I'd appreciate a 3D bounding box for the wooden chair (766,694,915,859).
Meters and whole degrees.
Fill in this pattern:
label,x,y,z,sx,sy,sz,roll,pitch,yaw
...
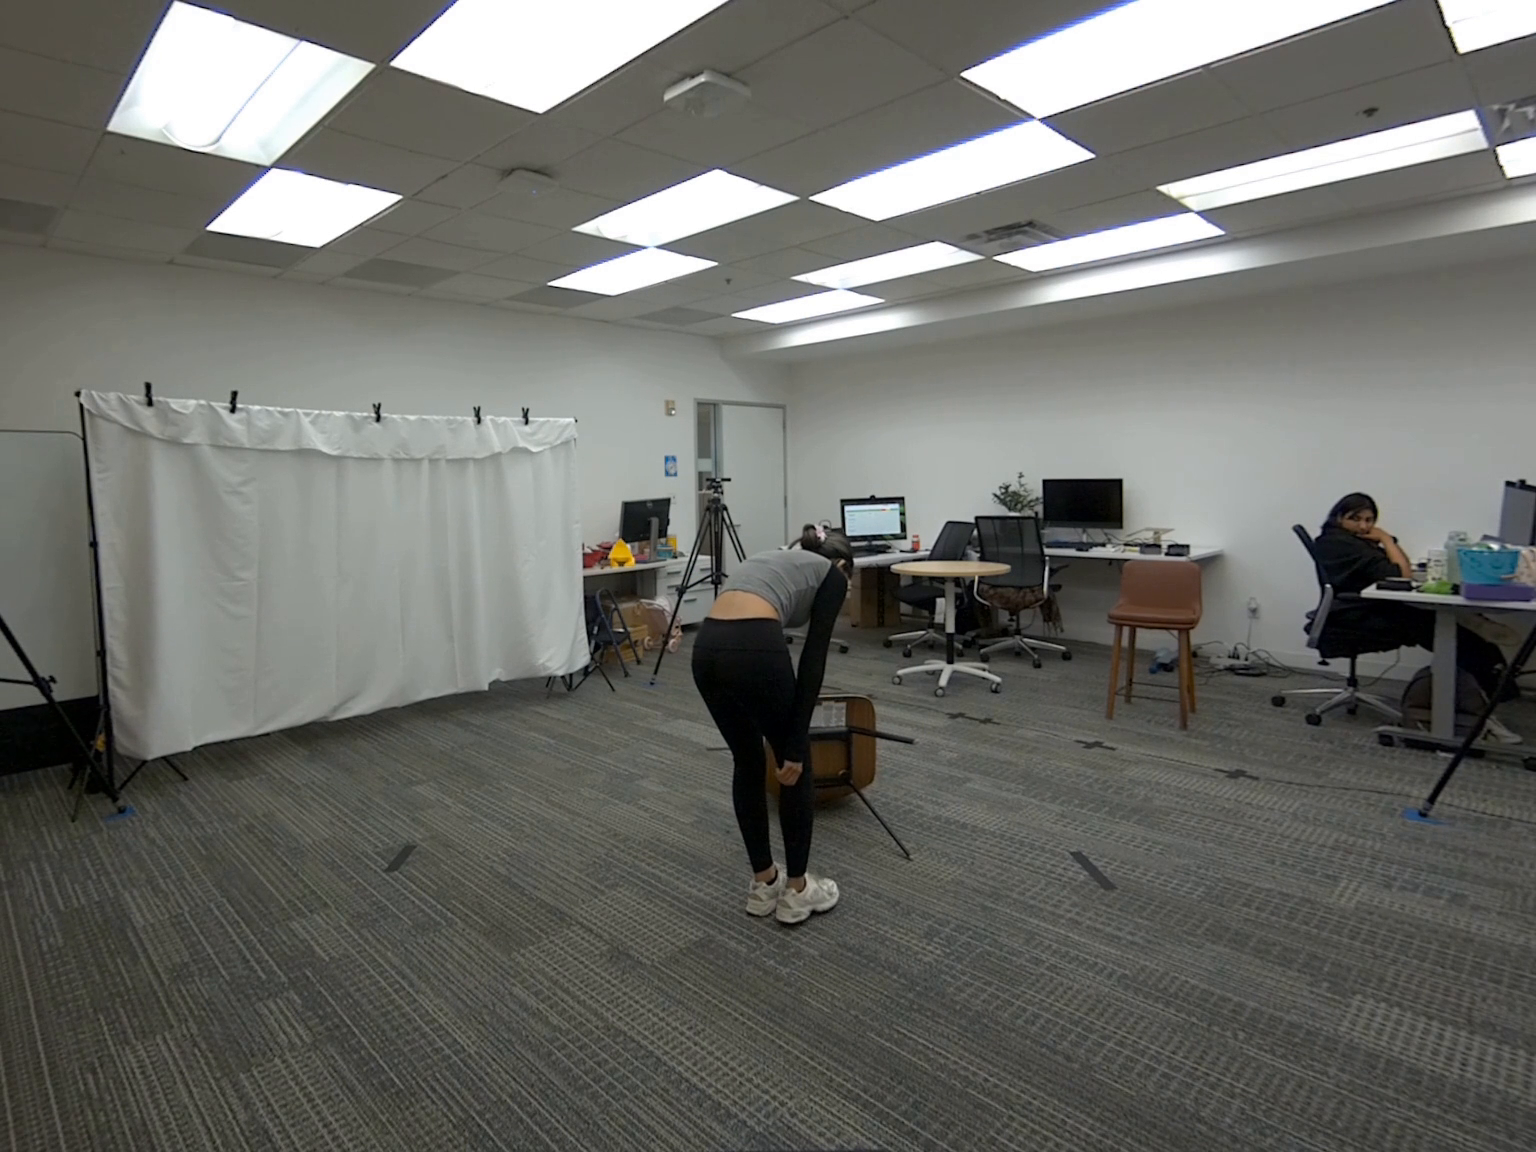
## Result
label,x,y,z,sx,sy,sz,roll,pitch,yaw
wooden chair,0.227,0.736,3.458,0.474,0.521,0.888,-1,5,-10
